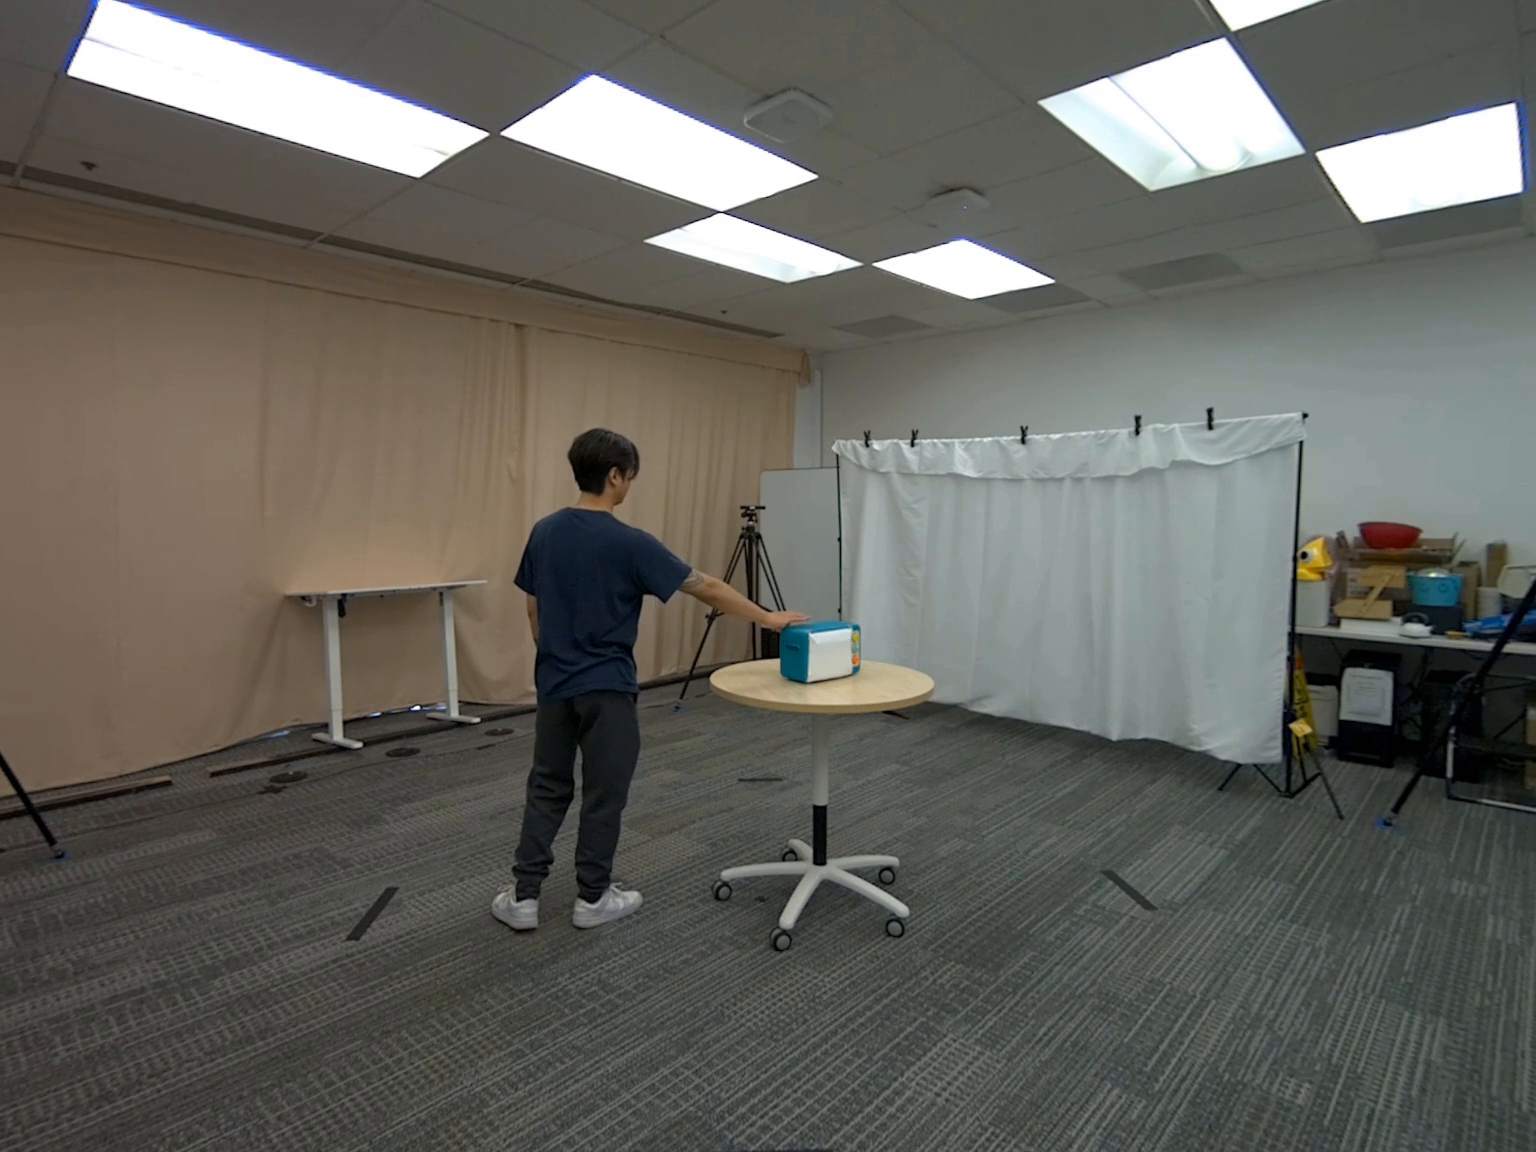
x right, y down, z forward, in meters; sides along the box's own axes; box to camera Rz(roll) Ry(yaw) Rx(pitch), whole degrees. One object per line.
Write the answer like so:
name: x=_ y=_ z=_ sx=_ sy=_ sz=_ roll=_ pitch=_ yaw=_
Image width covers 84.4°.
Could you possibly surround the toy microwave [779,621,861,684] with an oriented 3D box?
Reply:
toy microwave: x=0.193 y=0.261 z=2.920 sx=0.278 sy=0.184 sz=0.157 roll=-4 pitch=5 yaw=-38
